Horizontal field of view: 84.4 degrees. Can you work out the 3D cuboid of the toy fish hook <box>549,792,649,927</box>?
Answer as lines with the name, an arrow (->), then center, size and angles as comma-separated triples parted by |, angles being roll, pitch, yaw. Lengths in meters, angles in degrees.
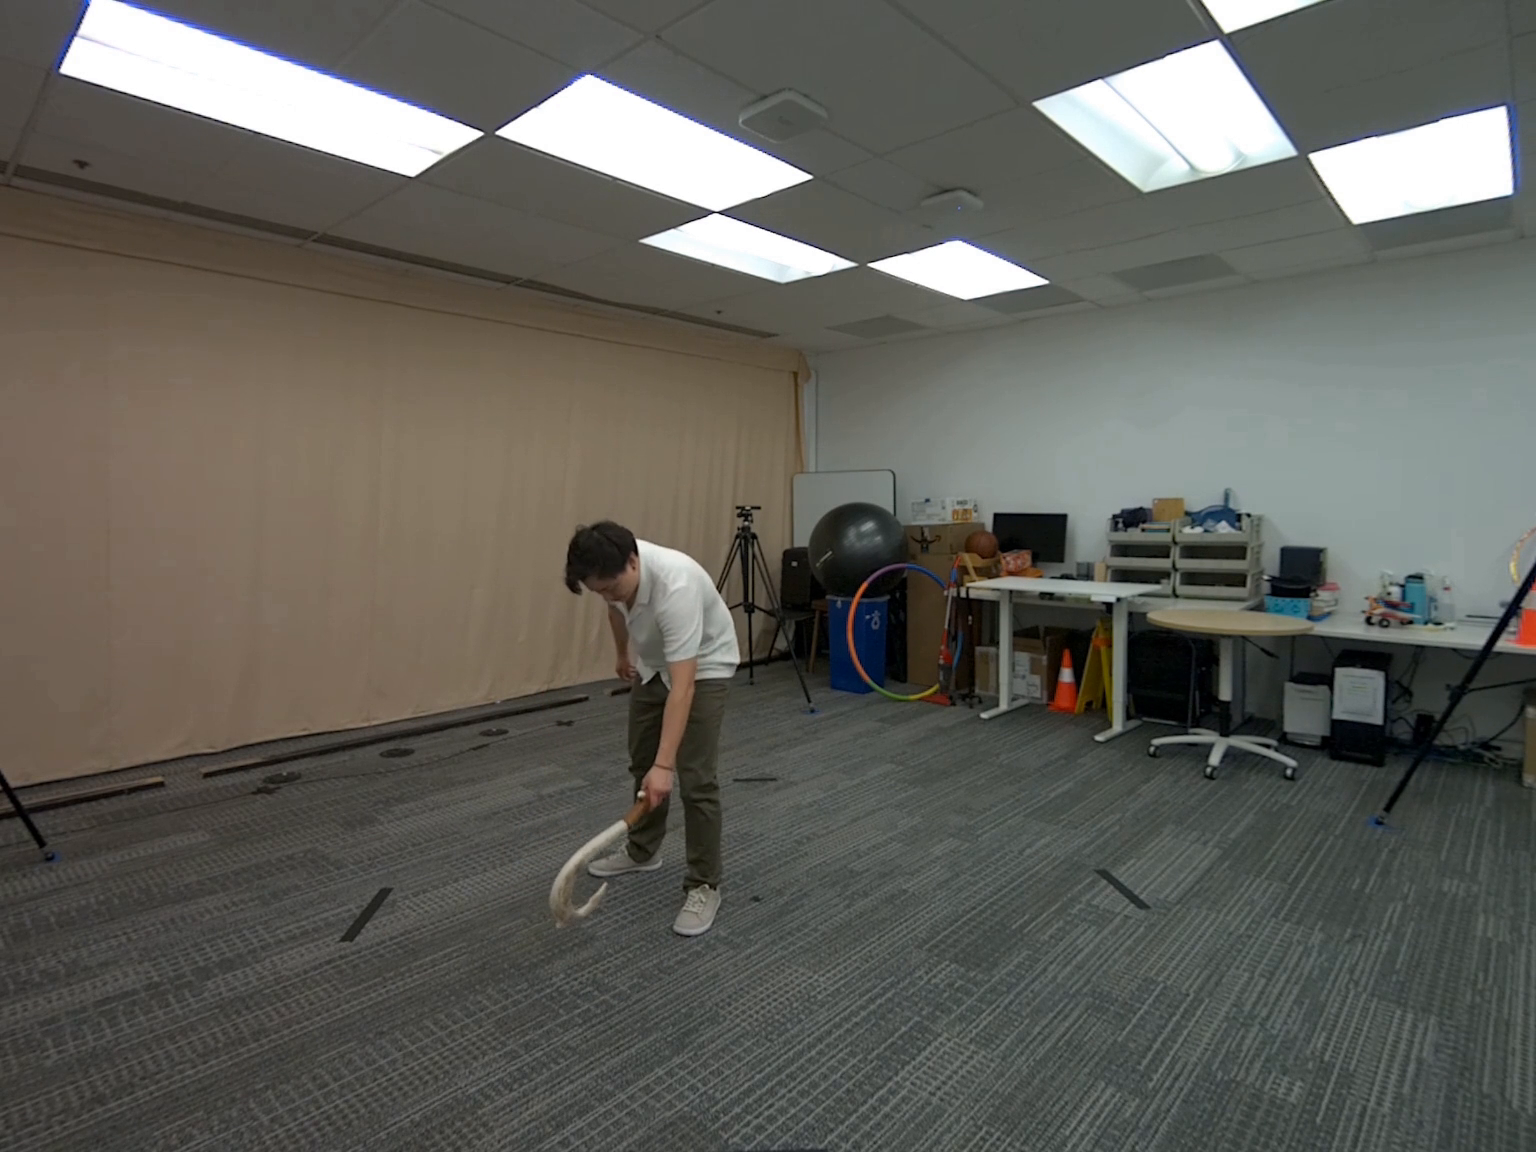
toy fish hook -> -0.440, 0.779, 2.409 | 0.050, 0.220, 0.500 | 18, 39, 28
